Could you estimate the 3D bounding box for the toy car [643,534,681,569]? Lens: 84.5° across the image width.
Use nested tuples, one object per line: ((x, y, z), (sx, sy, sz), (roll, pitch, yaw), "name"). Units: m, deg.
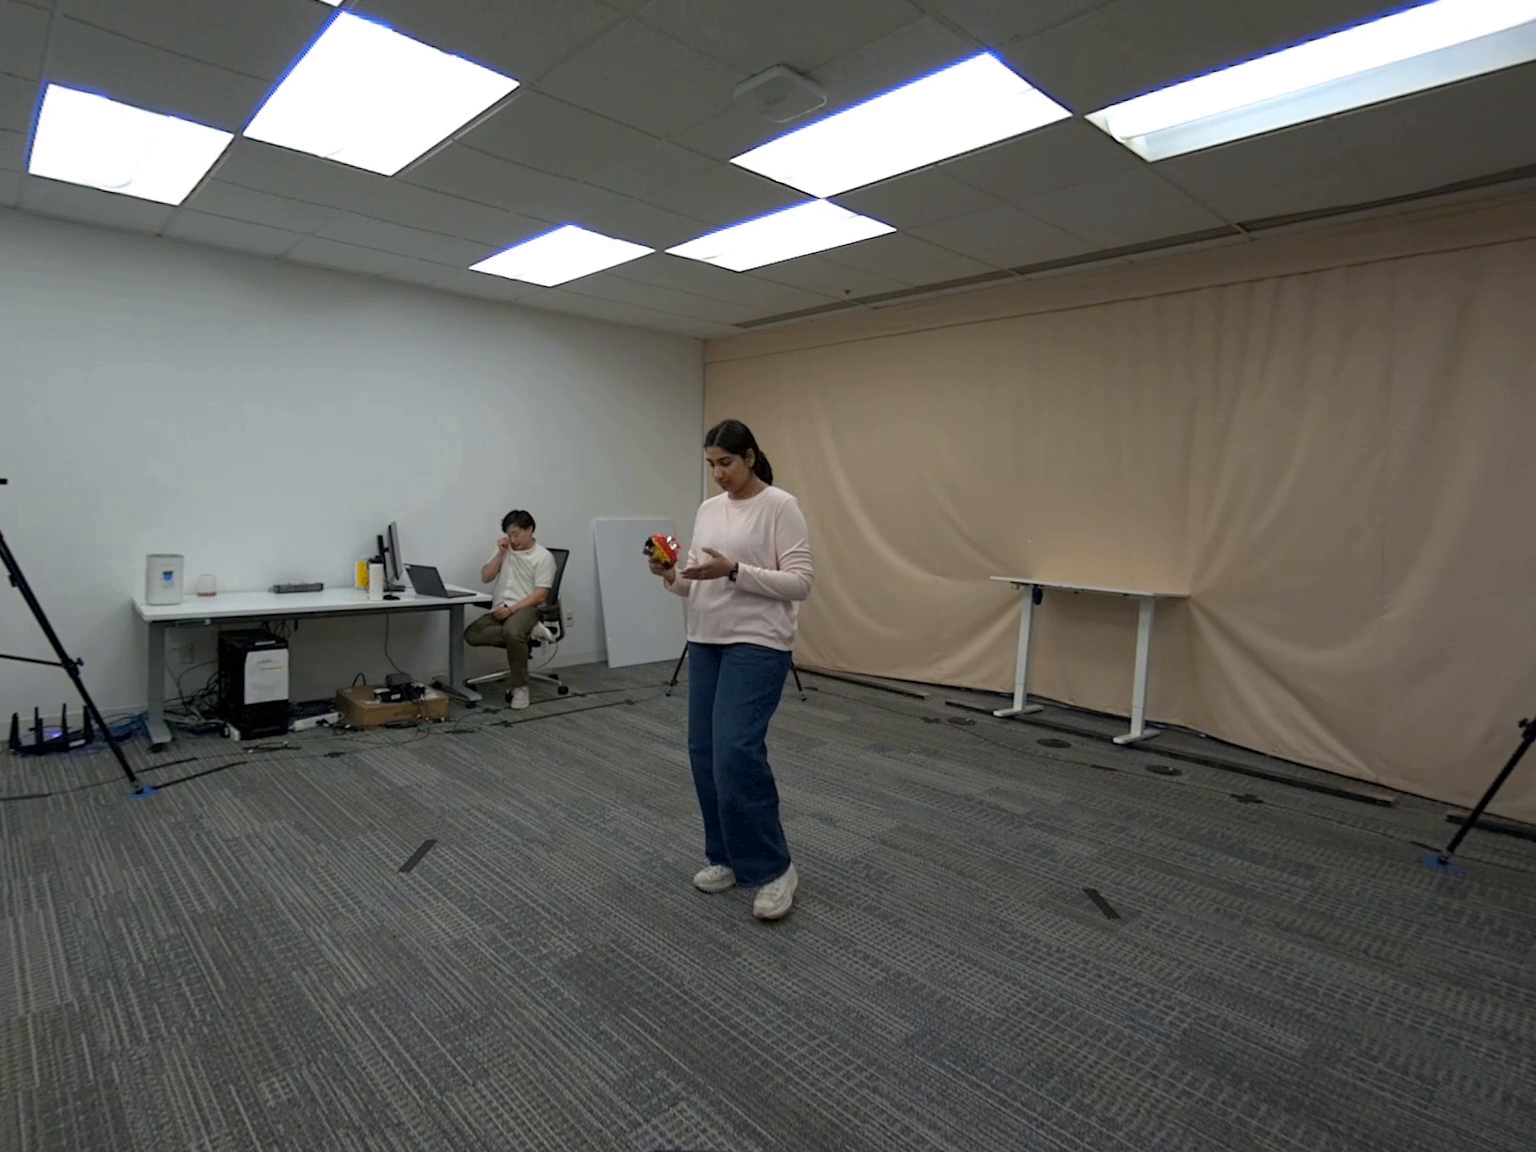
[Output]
((-0.348, -0.082, 2.777), (0.083, 0.130, 0.256), (-37, 4, -19), "toy car")
